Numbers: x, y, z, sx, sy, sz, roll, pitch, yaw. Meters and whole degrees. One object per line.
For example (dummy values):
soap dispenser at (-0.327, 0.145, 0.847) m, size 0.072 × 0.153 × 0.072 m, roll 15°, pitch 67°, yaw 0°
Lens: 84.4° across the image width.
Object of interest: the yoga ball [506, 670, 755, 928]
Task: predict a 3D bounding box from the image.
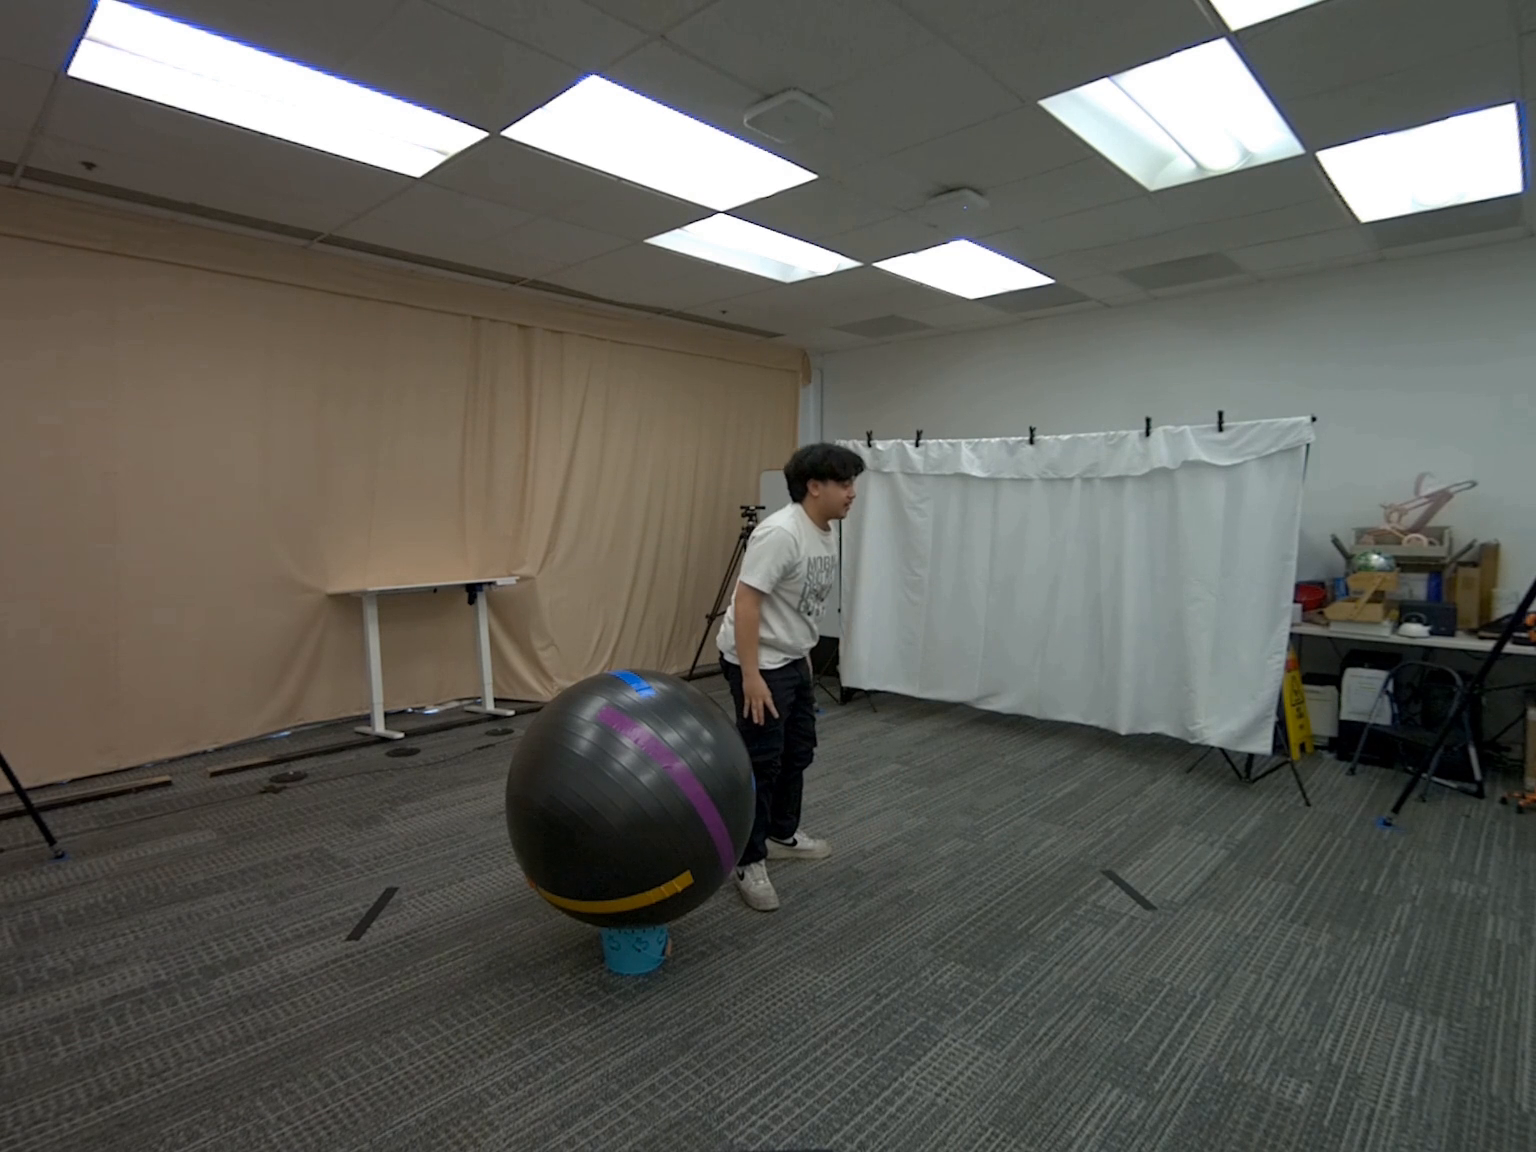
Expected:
yoga ball at (-0.418, 0.672, 2.580) m, size 0.757 × 0.756 × 0.760 m, roll 0°, pitch 4°, yaw -2°
